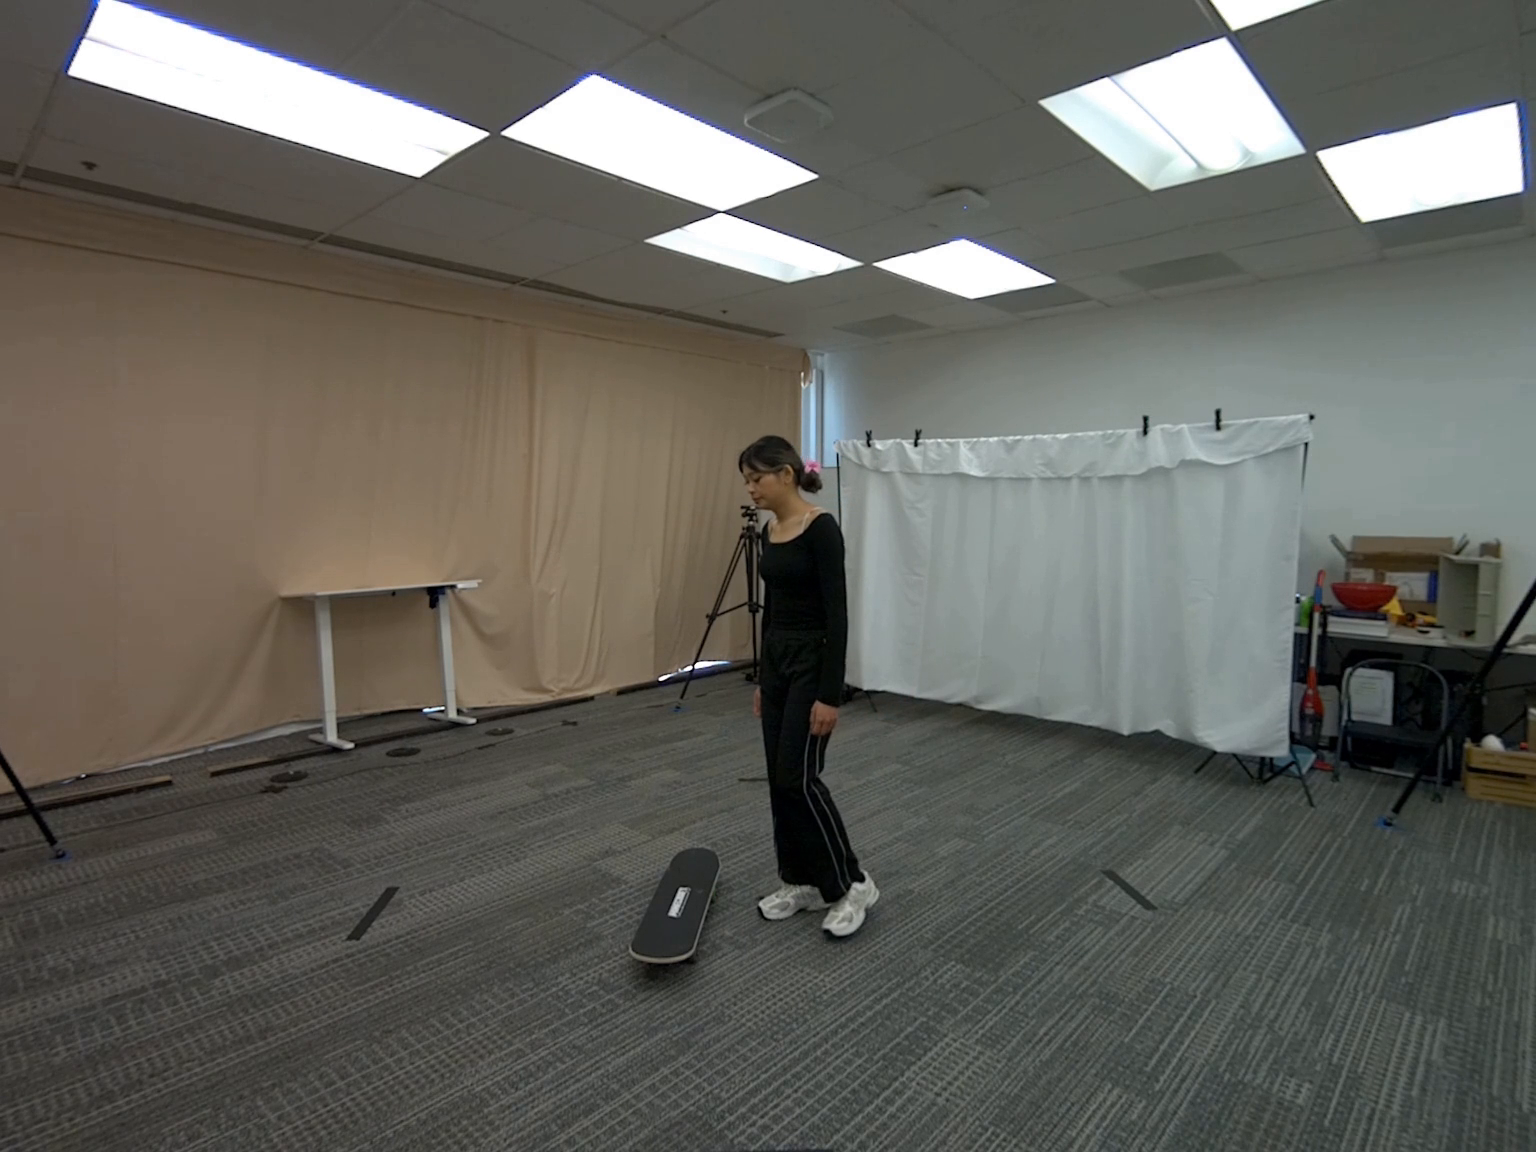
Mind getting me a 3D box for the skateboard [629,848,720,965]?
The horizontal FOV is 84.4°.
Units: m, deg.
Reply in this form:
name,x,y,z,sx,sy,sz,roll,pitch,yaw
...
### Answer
name,x,y,z,sx,sy,sz,roll,pitch,yaw
skateboard,-0.287,1.101,2.782,0.195,0.110,0.781,0,4,5
